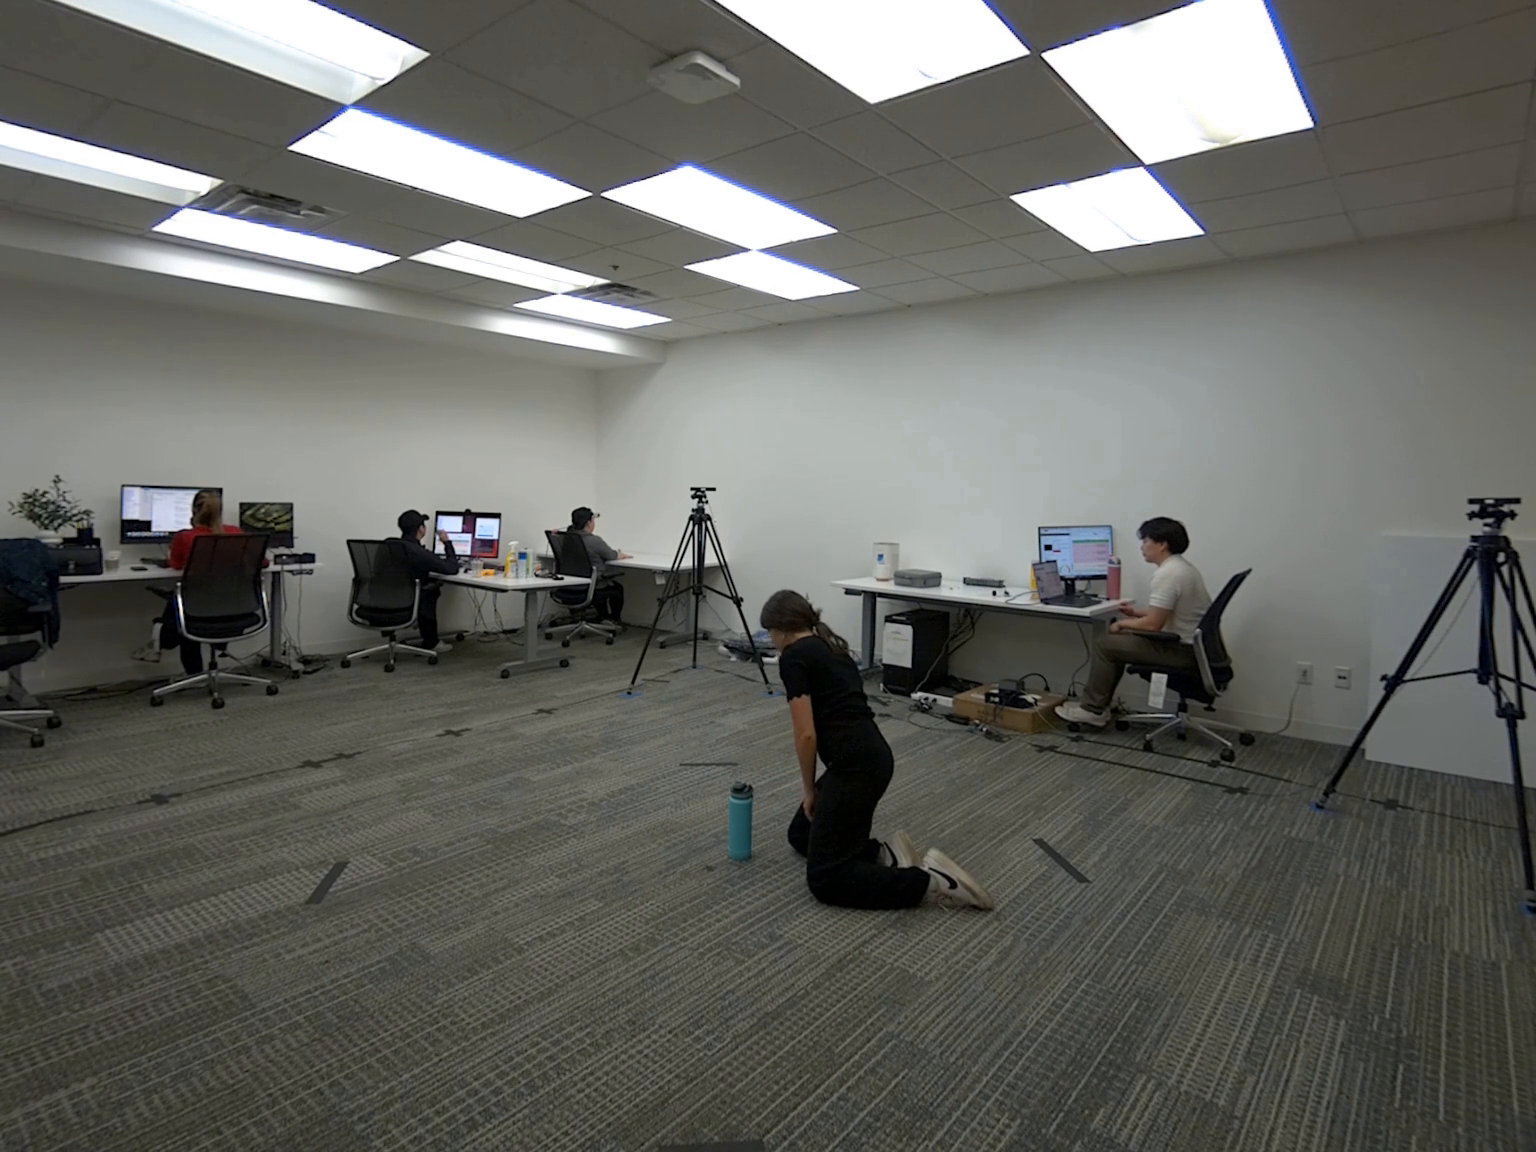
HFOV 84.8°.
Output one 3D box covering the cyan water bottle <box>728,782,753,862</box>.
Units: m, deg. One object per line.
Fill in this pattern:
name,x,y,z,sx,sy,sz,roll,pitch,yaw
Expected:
cyan water bottle,-0.110,0.920,3.227,0.092,0.283,0.092,2,2,-2
